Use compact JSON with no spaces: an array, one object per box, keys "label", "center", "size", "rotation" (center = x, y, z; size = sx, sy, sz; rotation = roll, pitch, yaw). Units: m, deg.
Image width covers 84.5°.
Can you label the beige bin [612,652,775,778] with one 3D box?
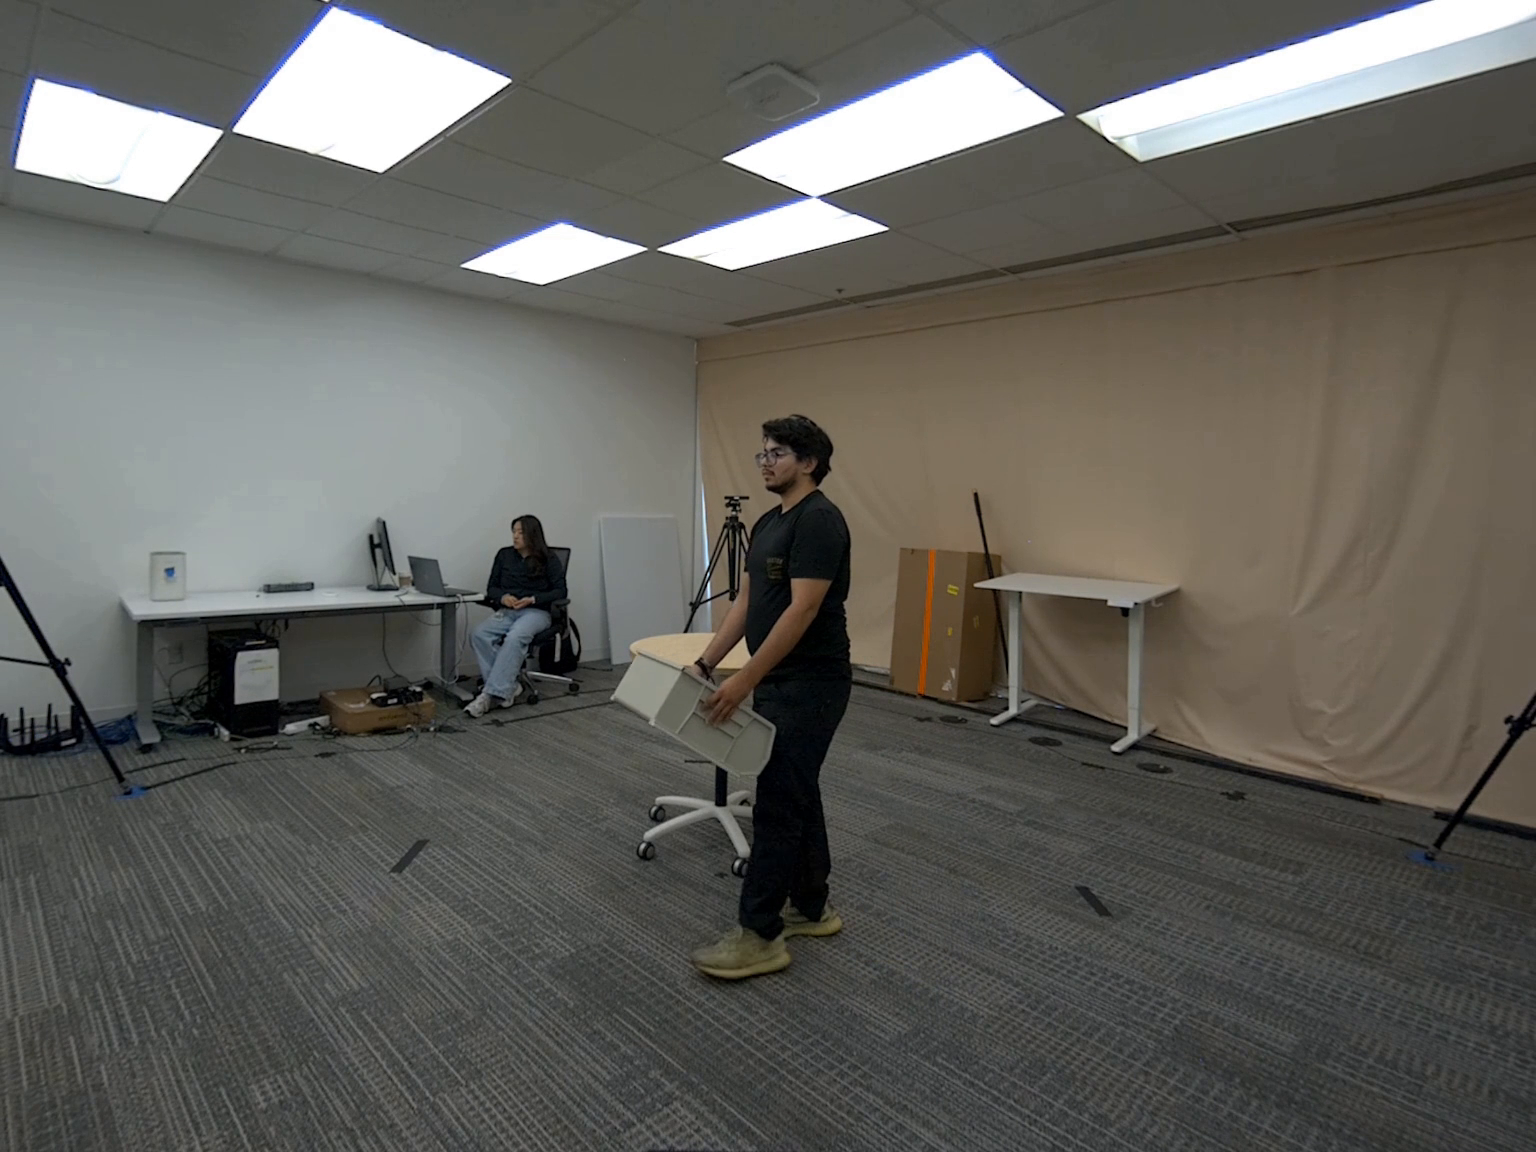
[{"label":"beige bin","center":[-0.234,0.414,2.516],"size":[0.369,0.189,0.430],"rotation":[35,-13,-23]}]
